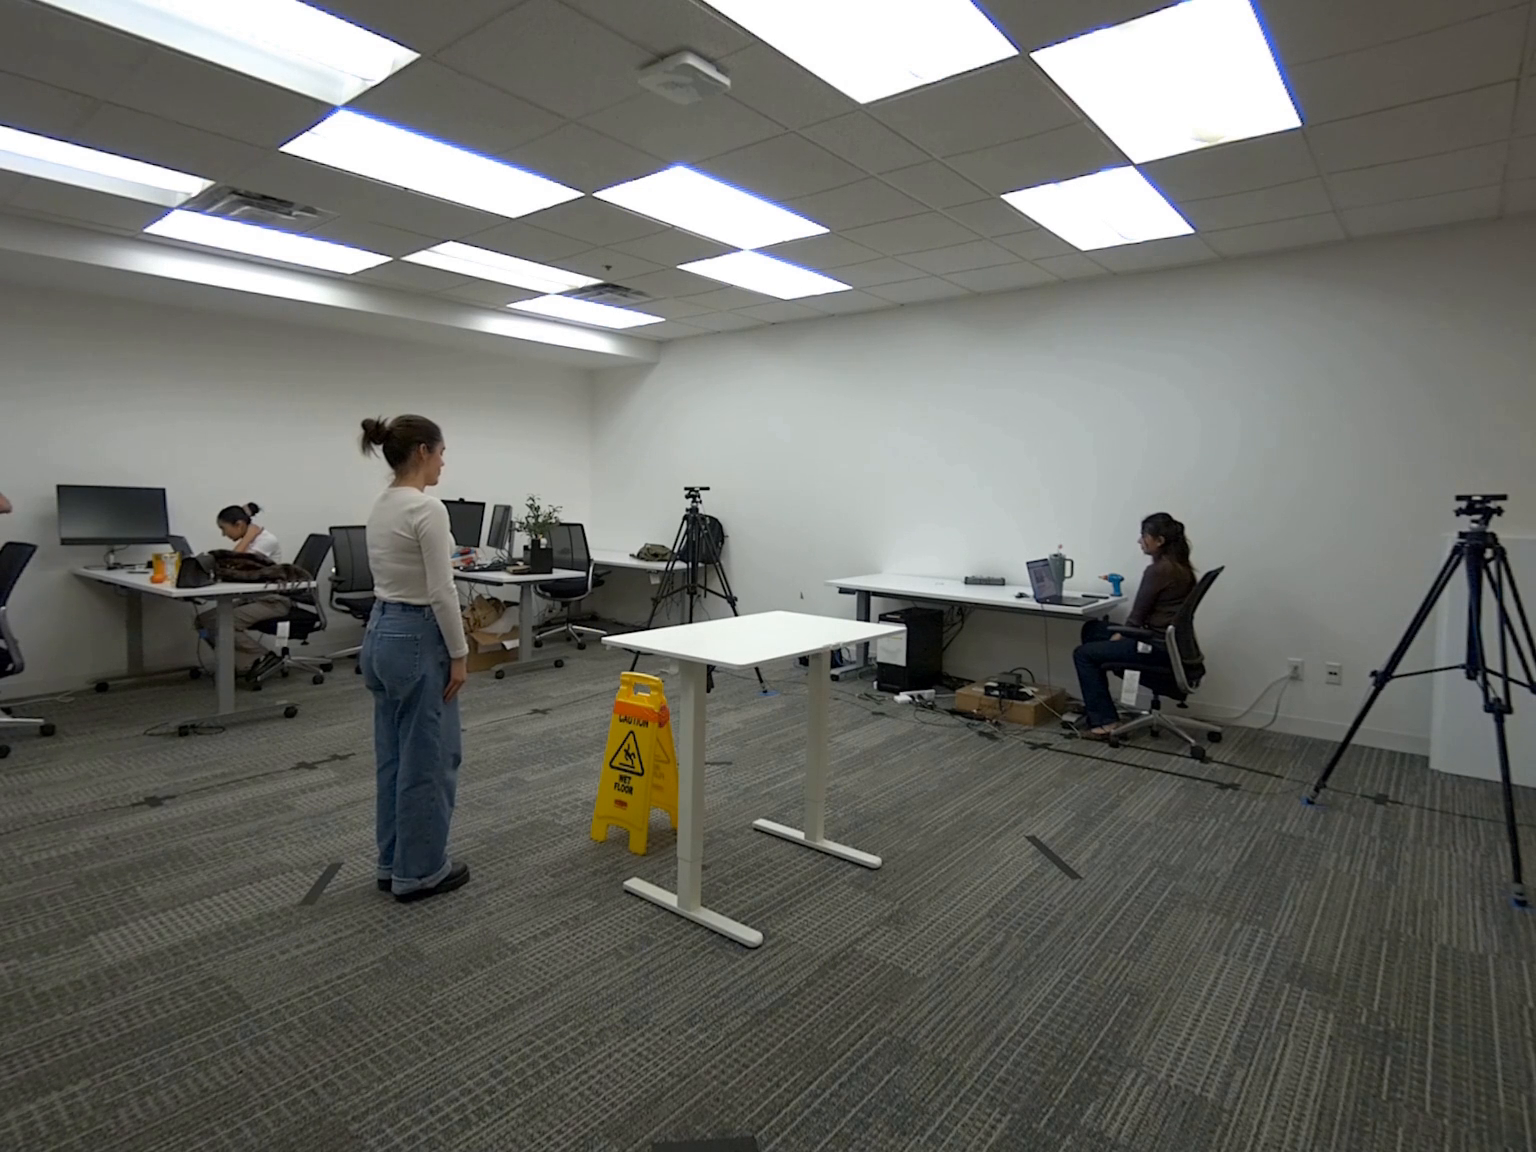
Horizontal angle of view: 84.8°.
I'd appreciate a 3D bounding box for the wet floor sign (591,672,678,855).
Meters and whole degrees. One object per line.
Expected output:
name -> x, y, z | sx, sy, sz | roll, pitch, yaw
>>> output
wet floor sign -> -0.523, 0.712, 3.389 | 0.291, 0.644, 0.282 | 2, 4, 33
